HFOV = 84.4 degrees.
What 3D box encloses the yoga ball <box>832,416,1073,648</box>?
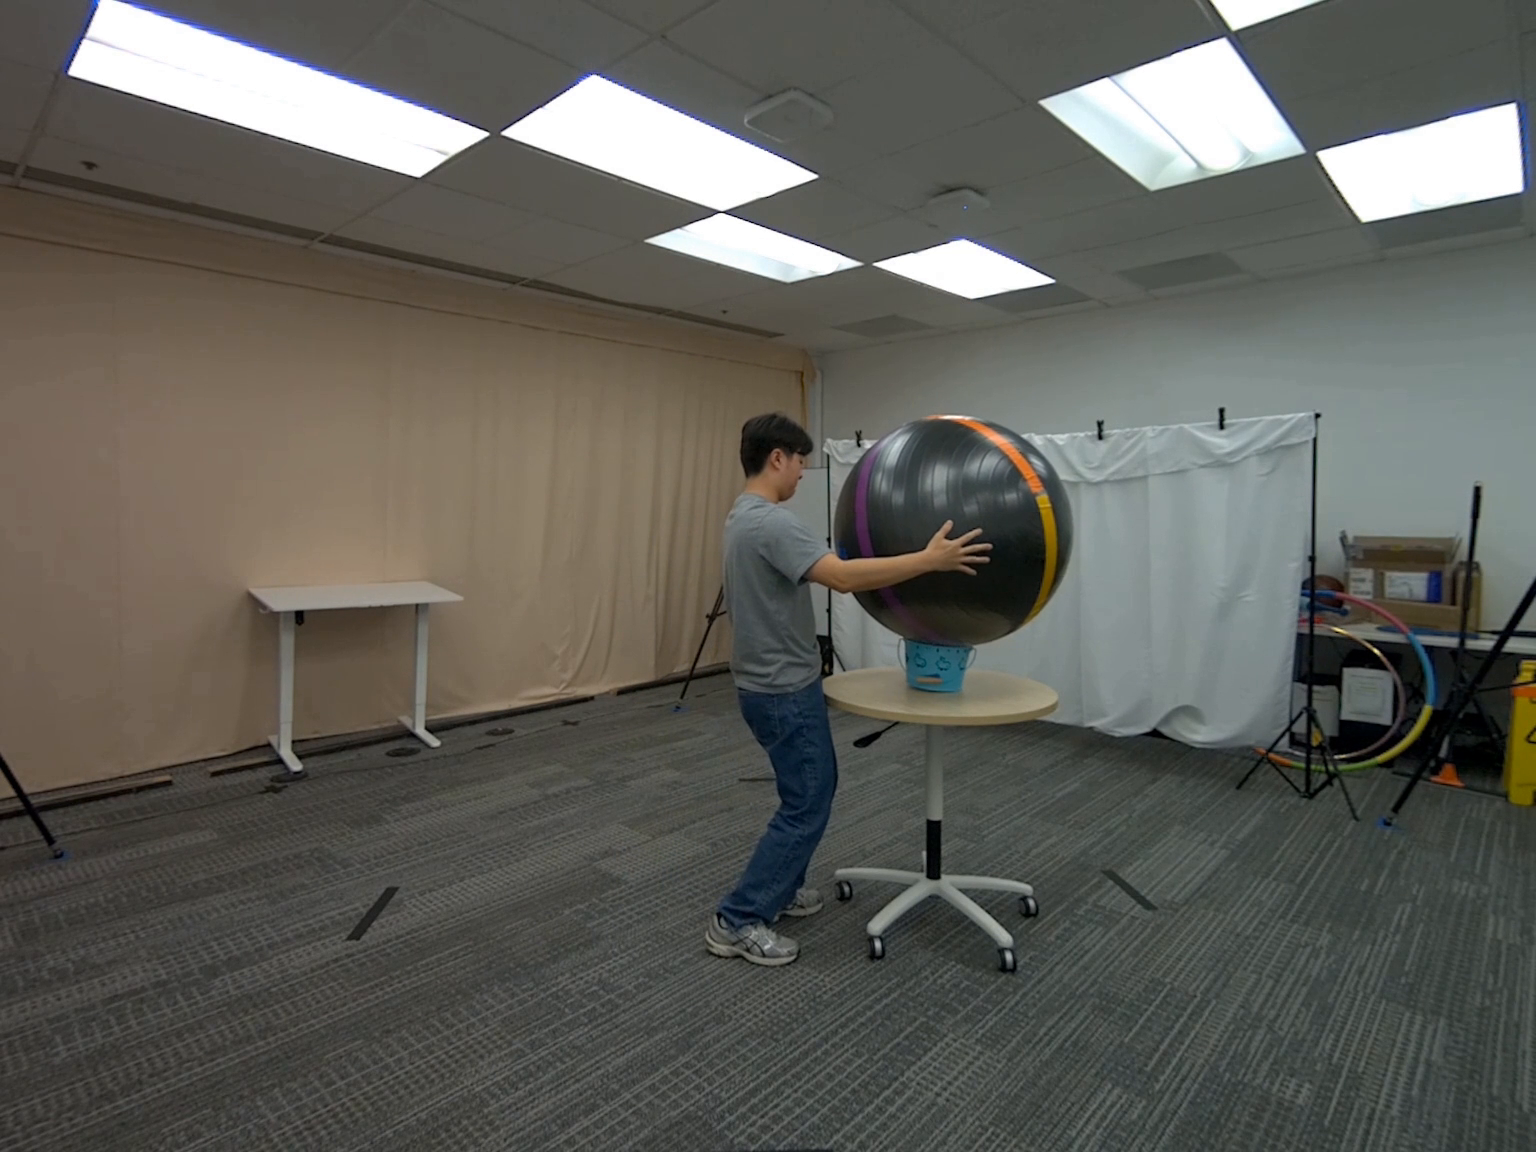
[{"bbox_3d":[0.606,-0.141,2.778,0.757,0.756,0.760,0,4,-2],"label":"yoga ball"}]
